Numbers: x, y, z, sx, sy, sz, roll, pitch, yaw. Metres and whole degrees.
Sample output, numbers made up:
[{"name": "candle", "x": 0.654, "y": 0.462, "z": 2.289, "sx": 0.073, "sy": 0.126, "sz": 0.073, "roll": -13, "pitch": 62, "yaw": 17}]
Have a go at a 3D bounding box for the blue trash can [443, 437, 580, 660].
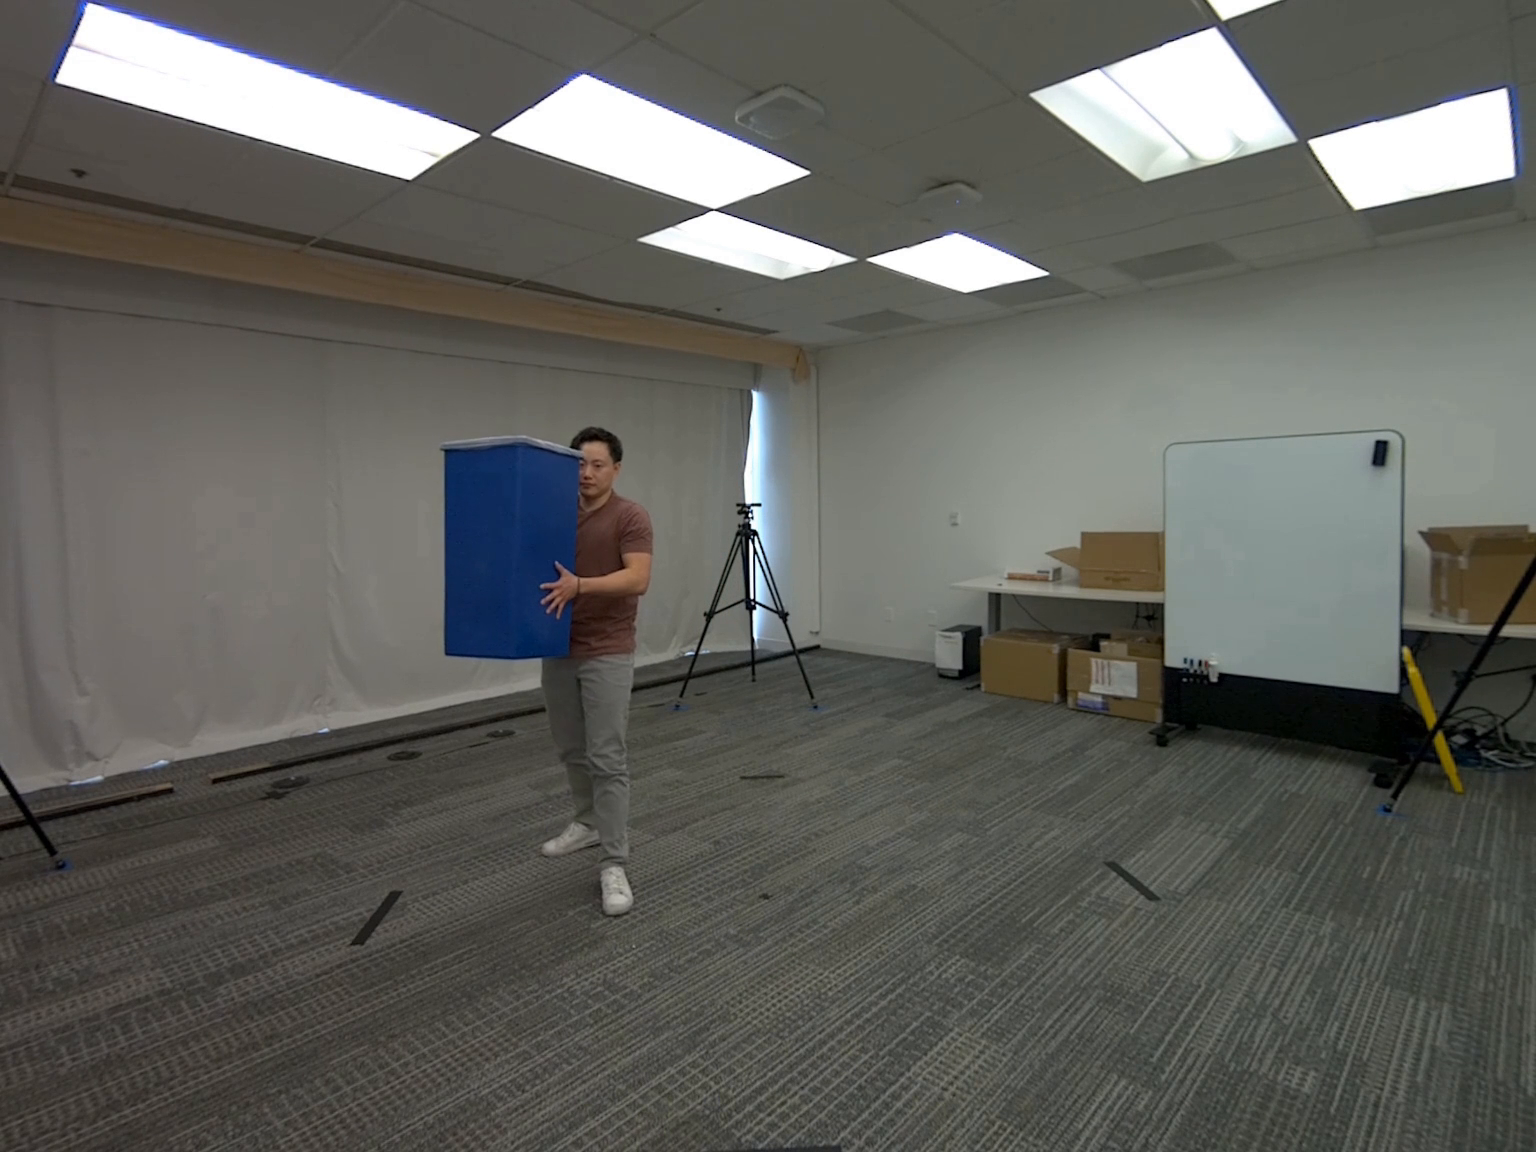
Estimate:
[{"name": "blue trash can", "x": -0.883, "y": -0.087, "z": 2.876, "sx": 0.388, "sy": 0.715, "sz": 0.364, "roll": -1, "pitch": -4, "yaw": 26}]
